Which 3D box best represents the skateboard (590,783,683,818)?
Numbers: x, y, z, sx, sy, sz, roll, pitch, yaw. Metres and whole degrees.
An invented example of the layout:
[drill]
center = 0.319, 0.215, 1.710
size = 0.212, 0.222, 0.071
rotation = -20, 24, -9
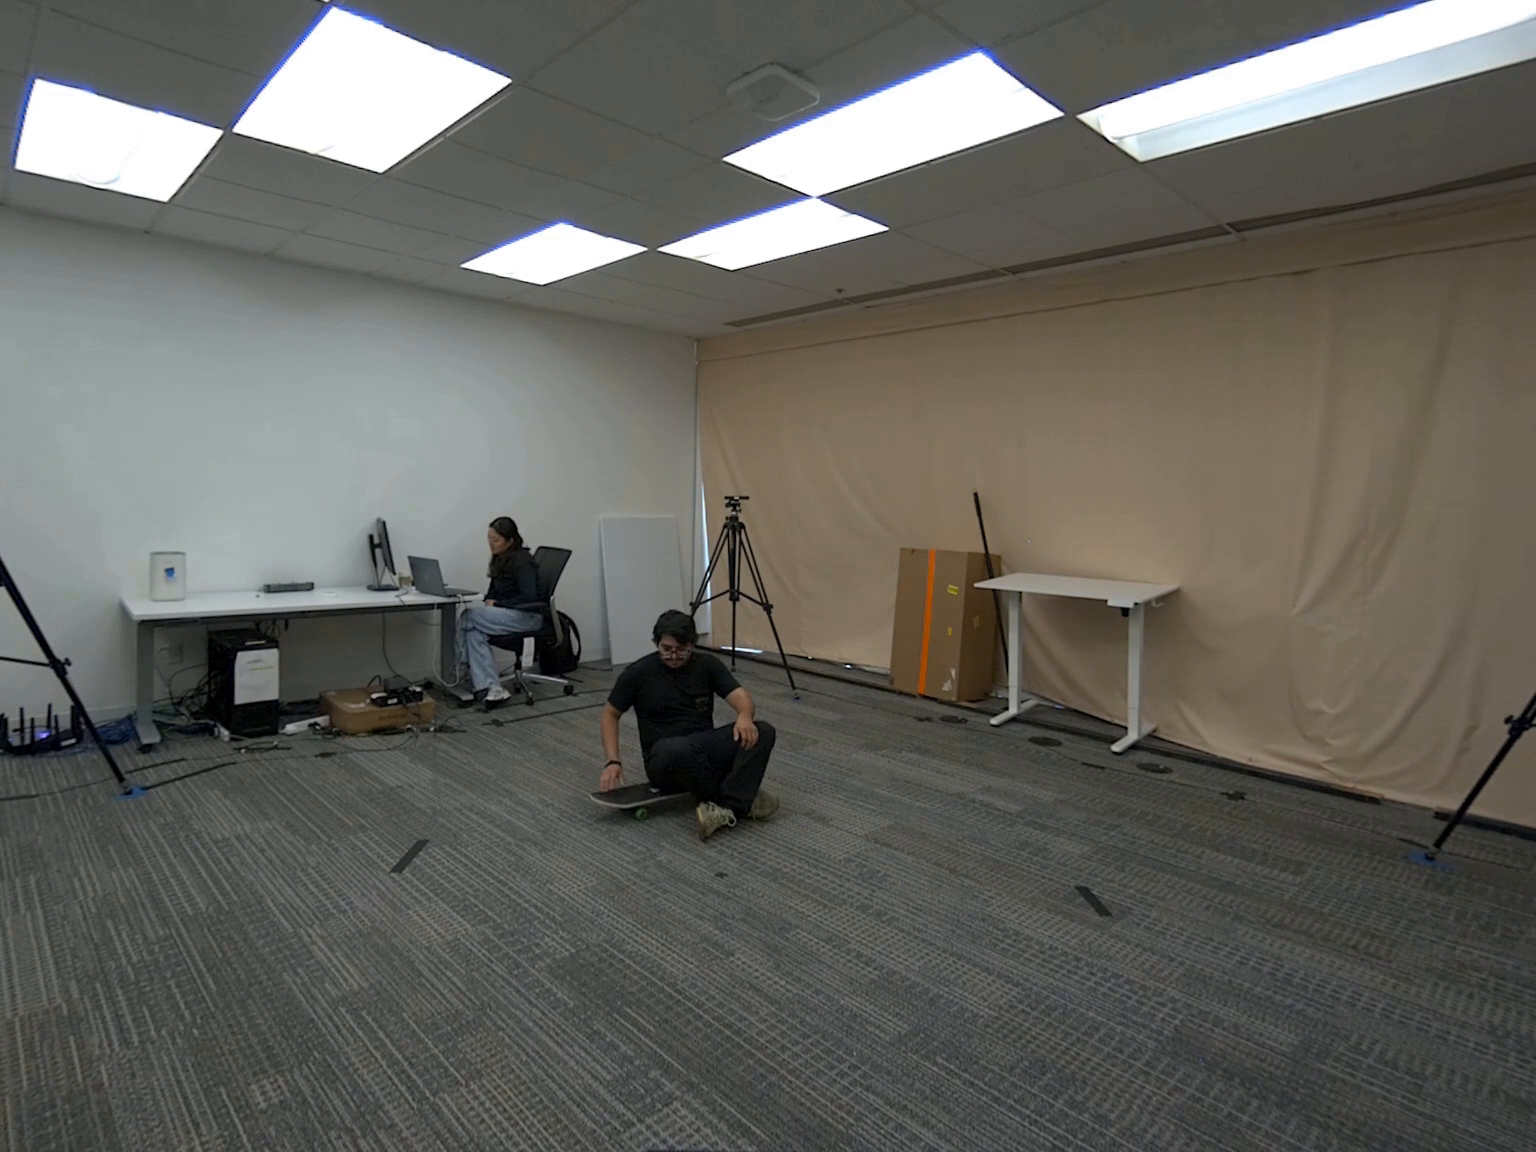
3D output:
[skateboard]
center = -0.446, 0.969, 3.792
size = 0.768, 0.110, 0.198
rotation = -2, 6, -36
